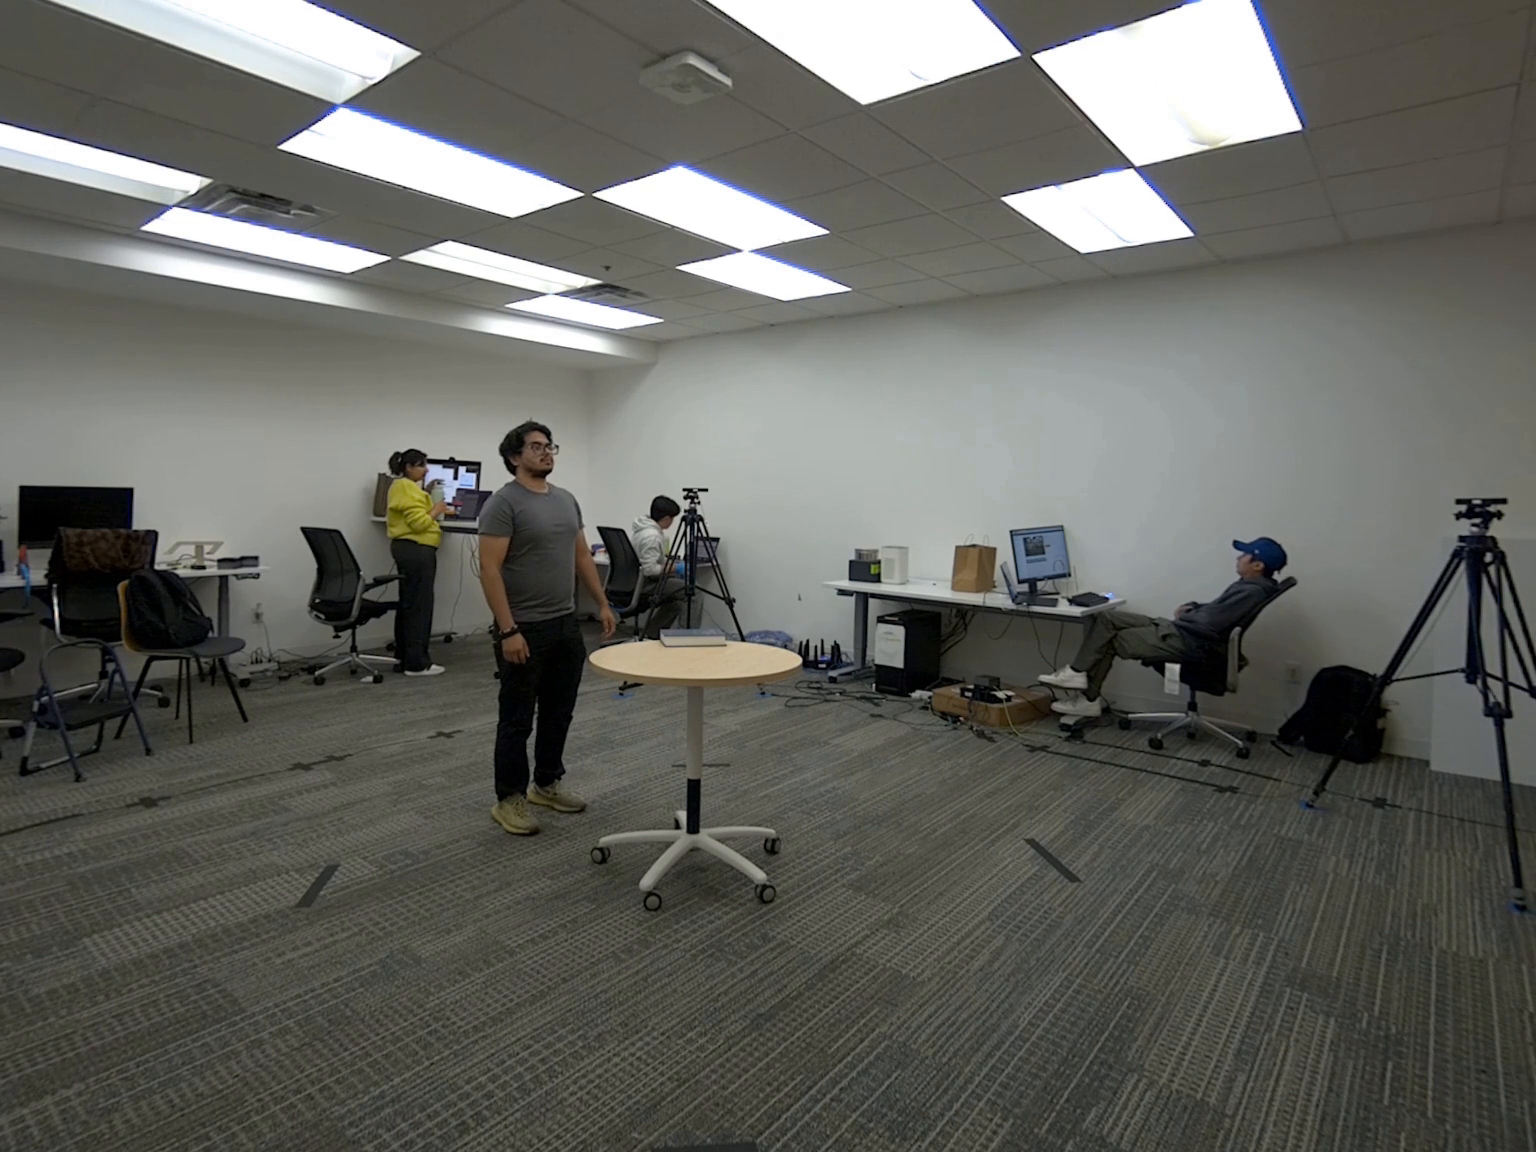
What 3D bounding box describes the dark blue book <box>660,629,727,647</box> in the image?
[{"bbox_3d":[-0.306,0.243,3.380,0.242,0.045,0.166,0,6,-12],"label":"dark blue book"}]
